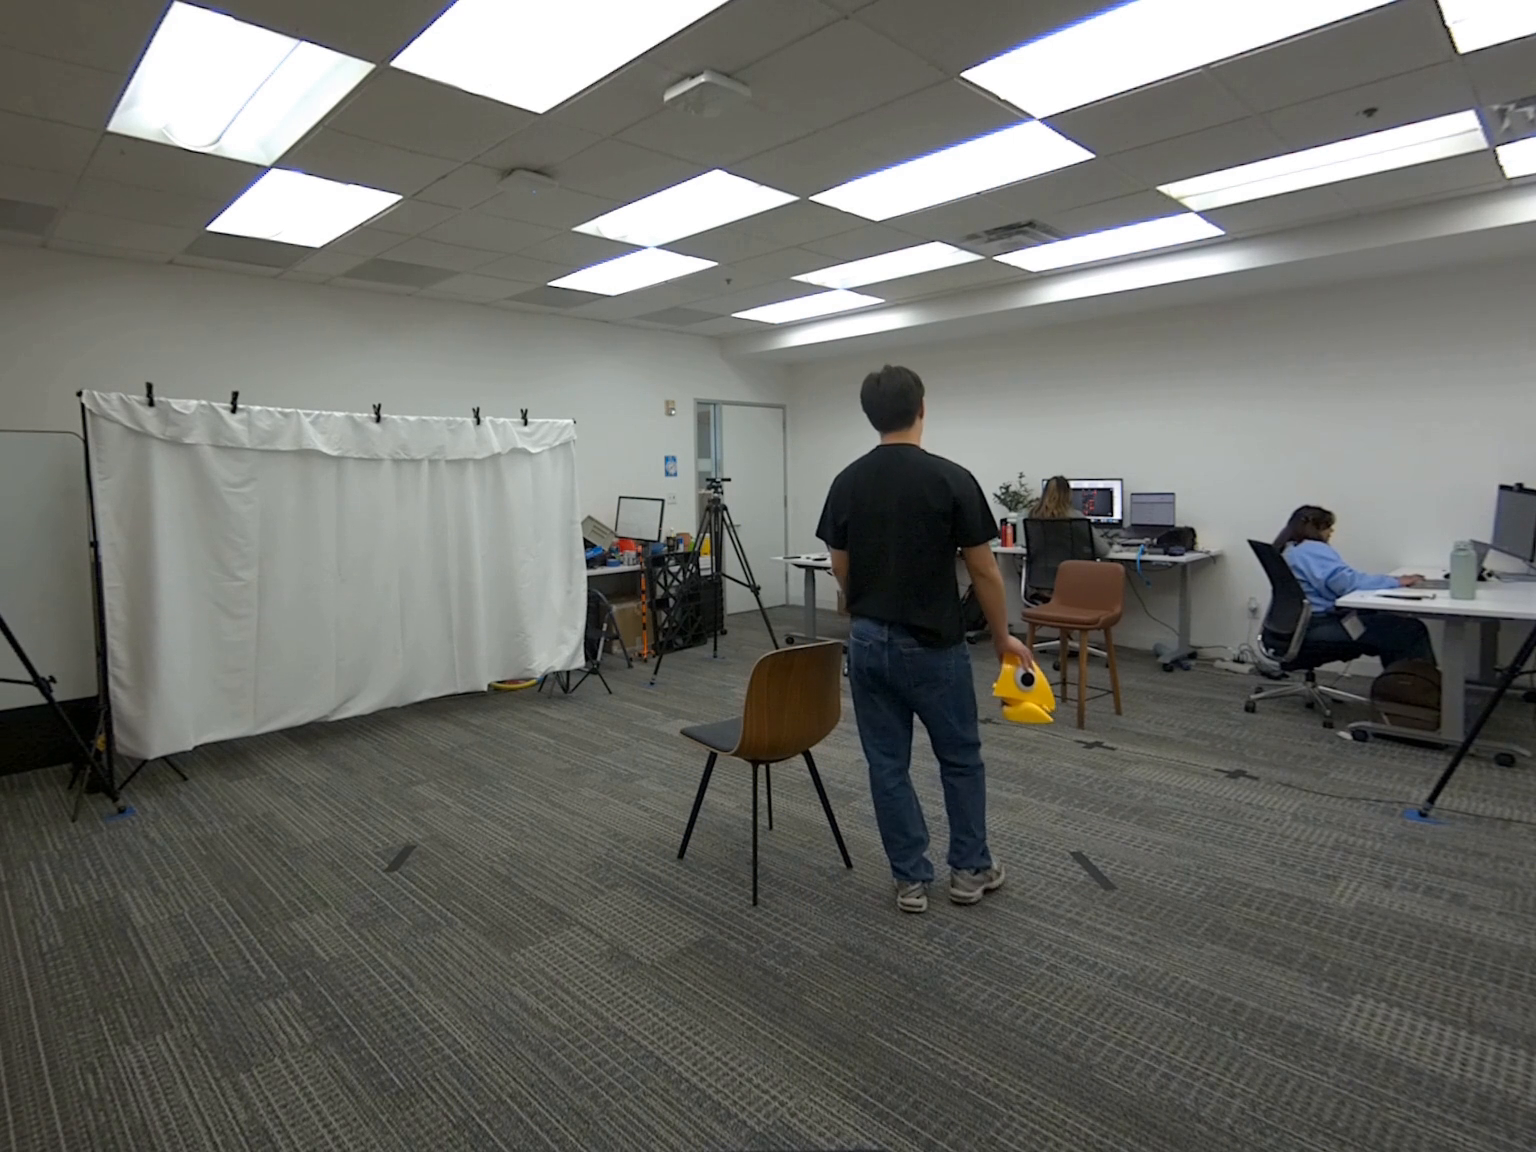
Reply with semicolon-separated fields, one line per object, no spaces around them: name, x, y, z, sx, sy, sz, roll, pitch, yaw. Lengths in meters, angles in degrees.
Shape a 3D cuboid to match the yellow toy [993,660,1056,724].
yellow toy;0.829;0.330;2.772;0.197;0.229;0.202;2;8;21
